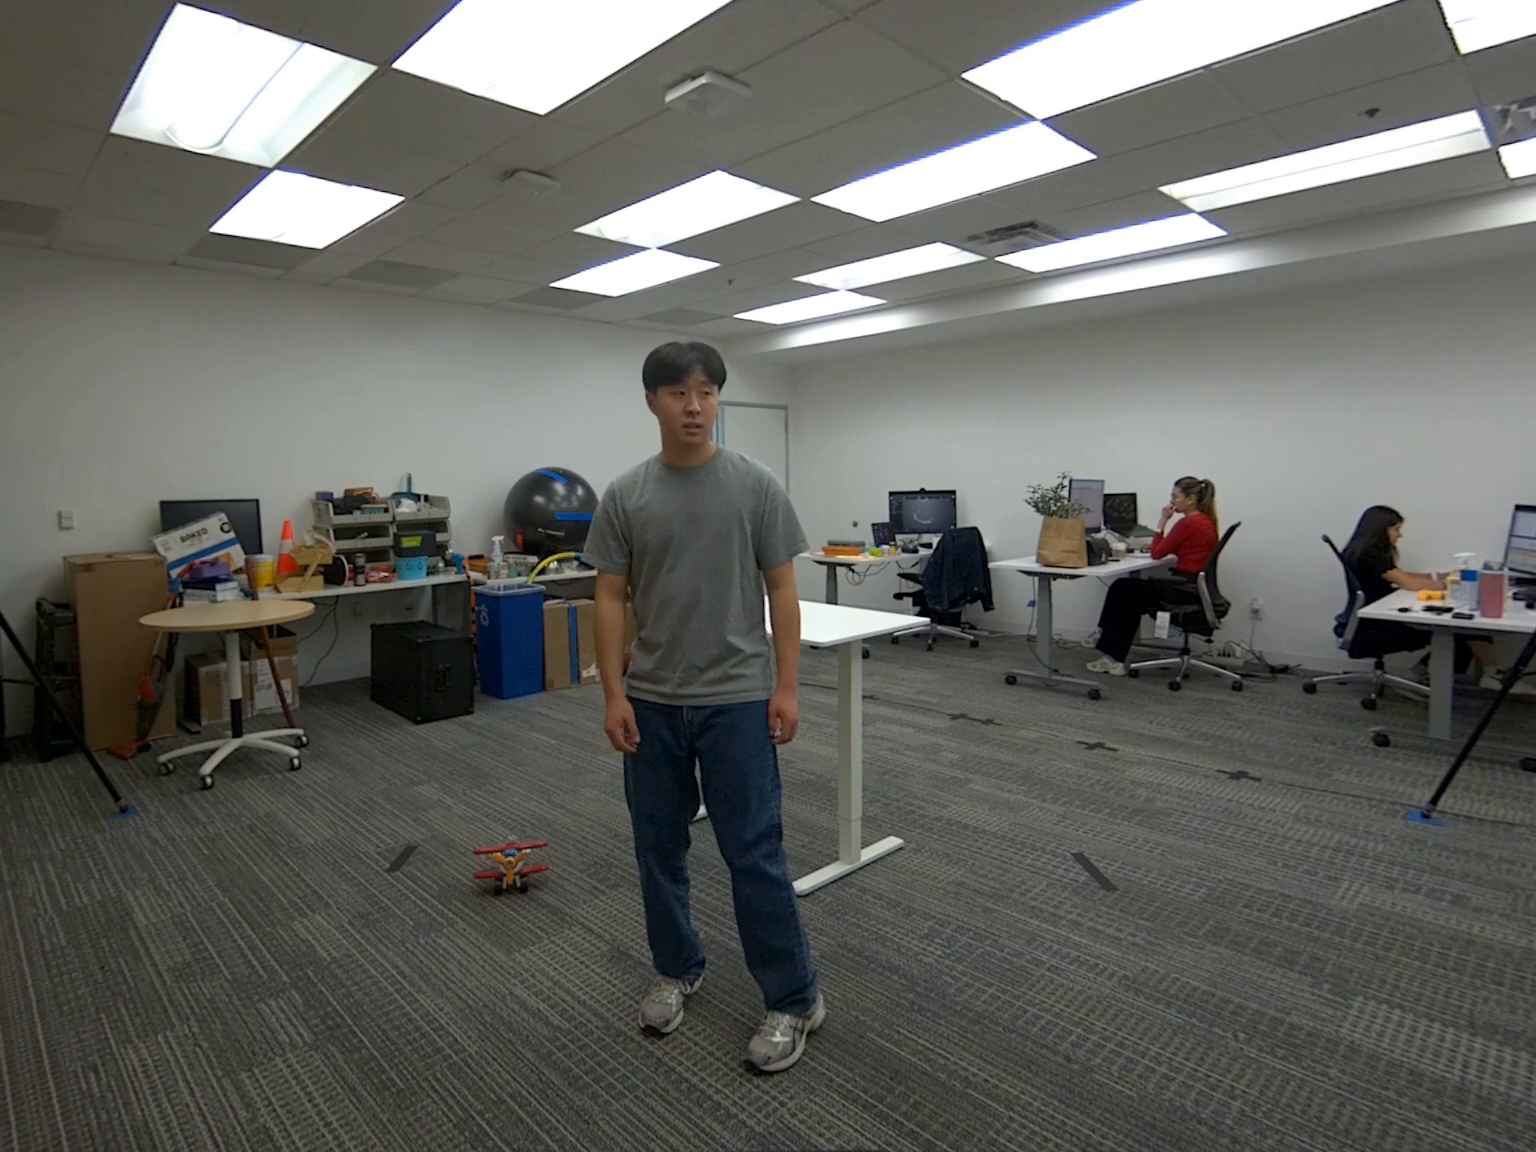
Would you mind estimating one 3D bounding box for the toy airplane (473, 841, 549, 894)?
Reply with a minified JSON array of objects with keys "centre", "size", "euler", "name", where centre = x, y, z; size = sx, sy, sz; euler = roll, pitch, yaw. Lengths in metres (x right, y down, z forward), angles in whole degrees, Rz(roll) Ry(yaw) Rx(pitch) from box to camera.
[{"centre":[-0.921,1.004,2.996],"size":[0.244,0.156,0.267],"euler":[-6,8,-42],"name":"toy airplane"}]
